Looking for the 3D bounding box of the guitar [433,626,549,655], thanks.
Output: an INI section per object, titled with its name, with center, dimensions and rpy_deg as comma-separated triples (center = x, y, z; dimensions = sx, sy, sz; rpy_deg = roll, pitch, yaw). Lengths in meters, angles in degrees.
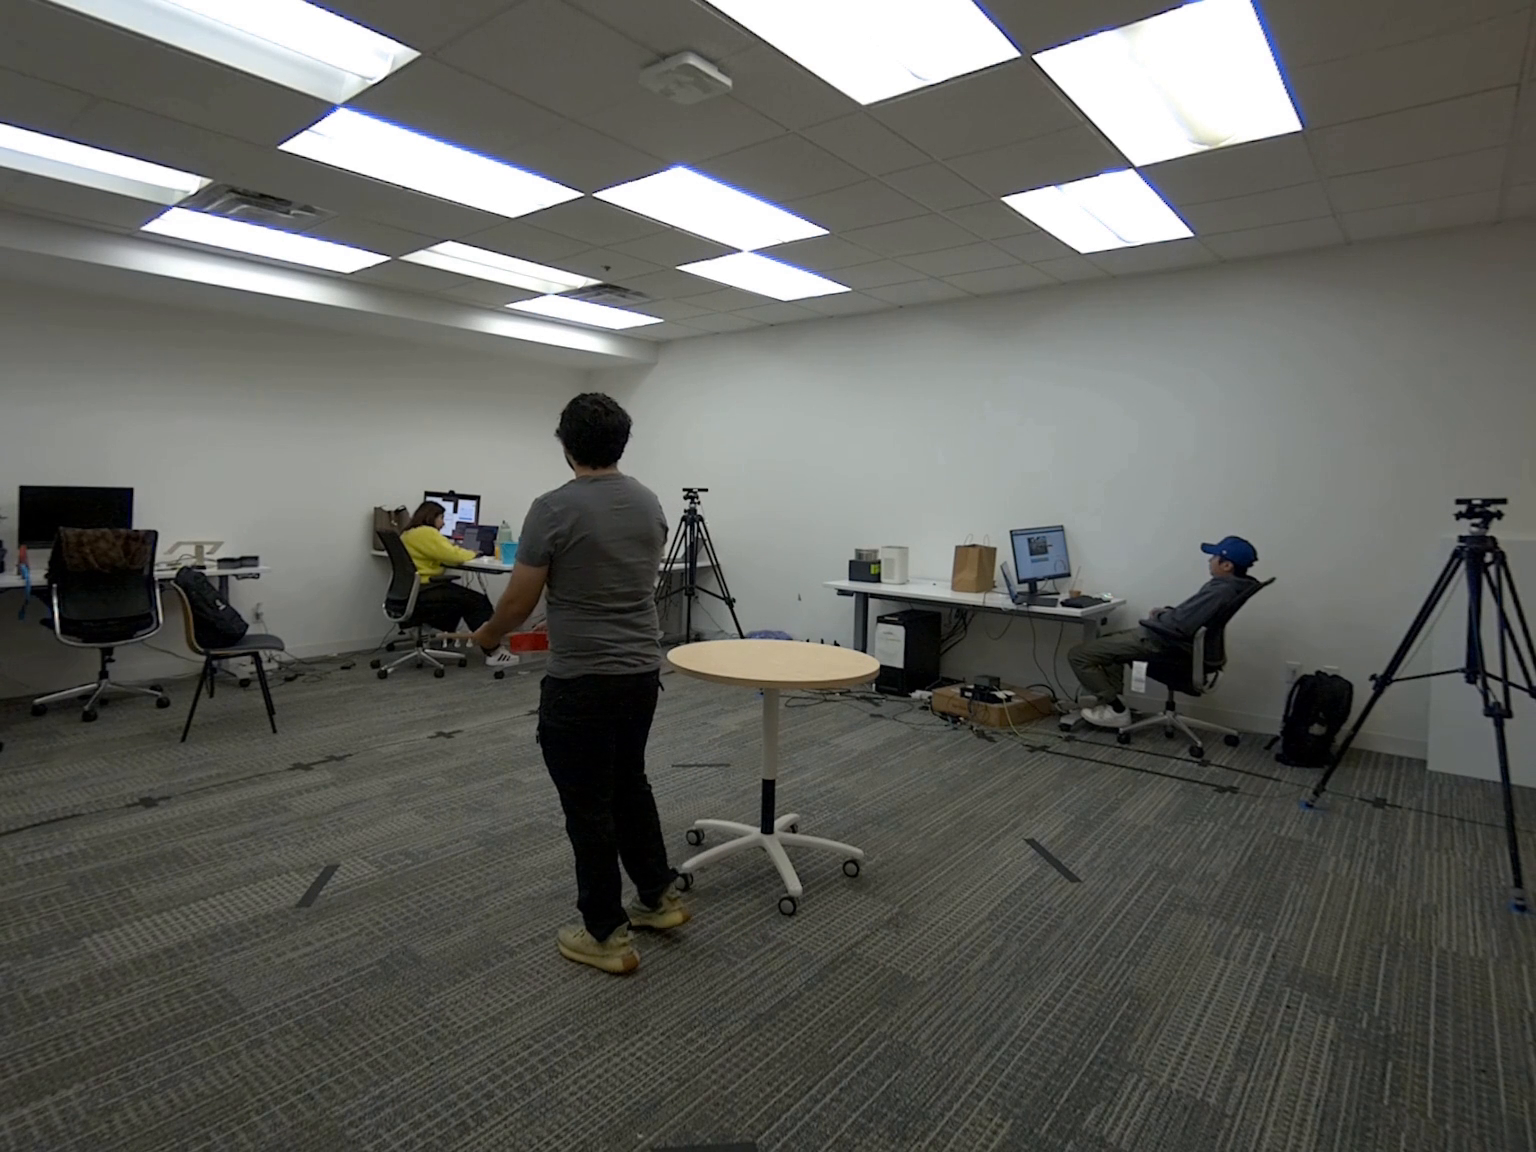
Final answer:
[guitar]
center = -0.818, 0.214, 2.741
dimensions = 0.495, 0.071, 0.192
rpy_deg = -3, -9, -5
